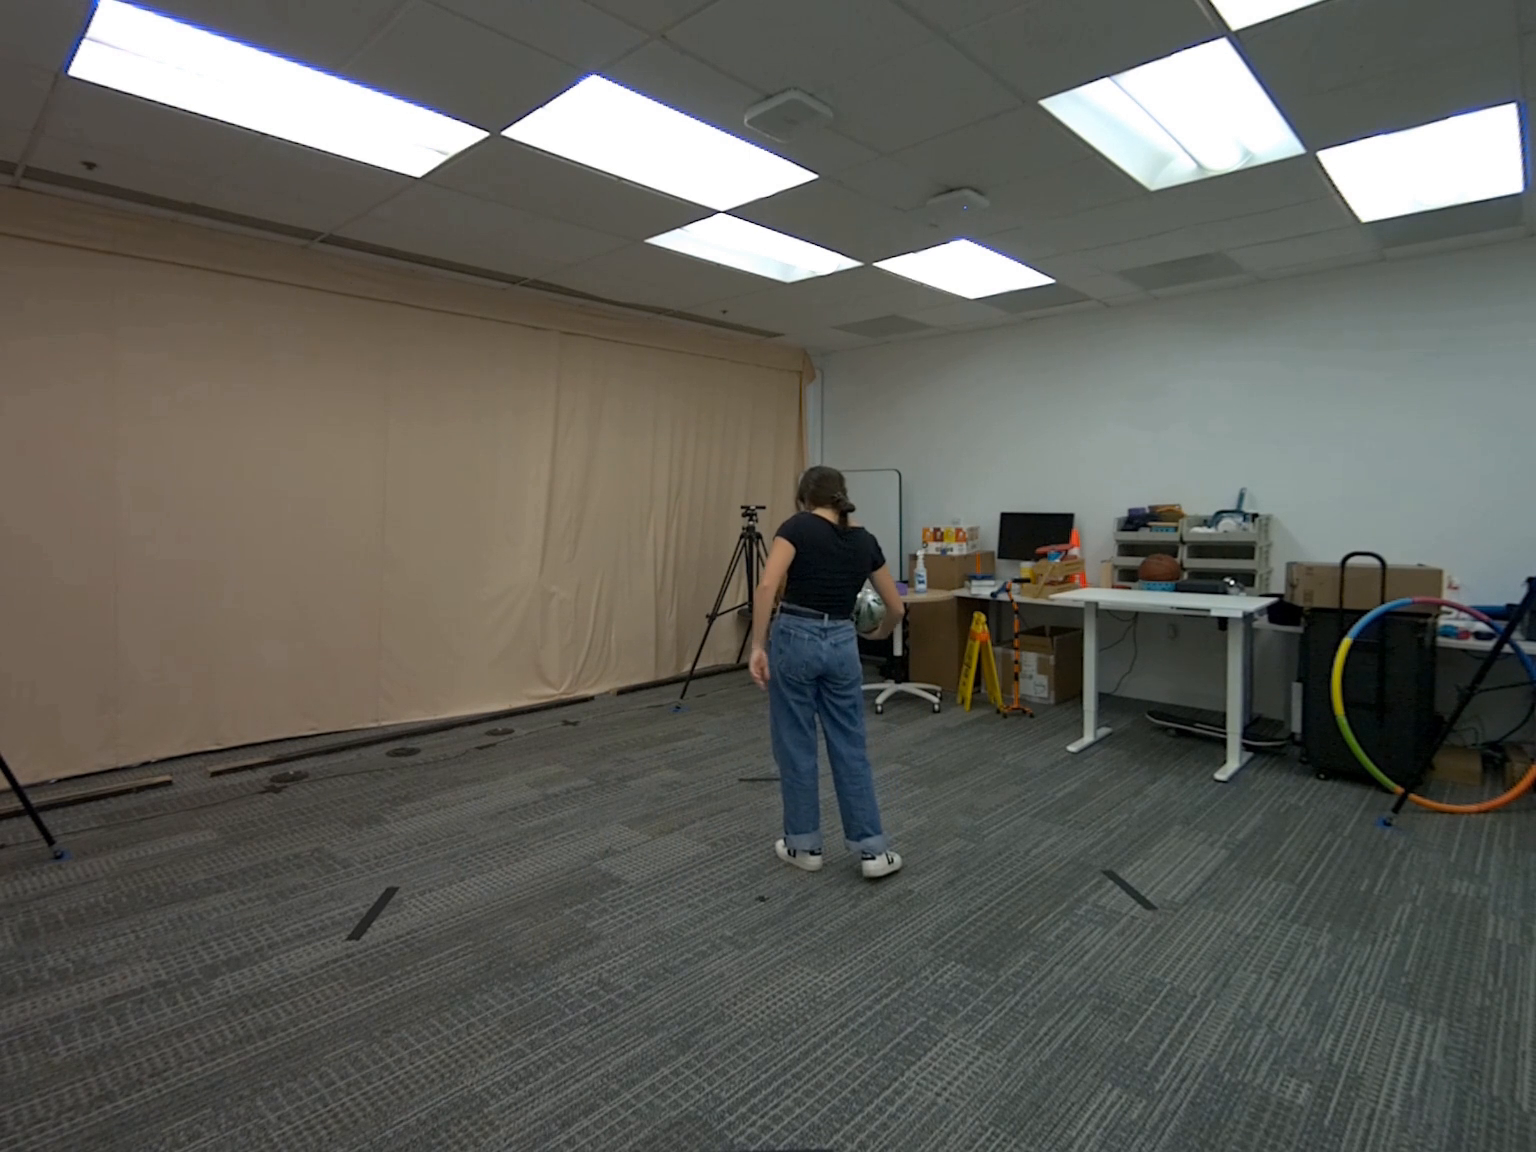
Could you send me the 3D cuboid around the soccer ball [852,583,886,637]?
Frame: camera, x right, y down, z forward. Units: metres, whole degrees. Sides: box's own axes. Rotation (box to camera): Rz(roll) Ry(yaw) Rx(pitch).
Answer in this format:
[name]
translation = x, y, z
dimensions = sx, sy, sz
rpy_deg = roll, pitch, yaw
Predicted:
[soccer ball]
translation = 0.397, 0.139, 3.472
dimensions = 0.187, 0.187, 0.188
rpy_deg = 0, 4, -2
